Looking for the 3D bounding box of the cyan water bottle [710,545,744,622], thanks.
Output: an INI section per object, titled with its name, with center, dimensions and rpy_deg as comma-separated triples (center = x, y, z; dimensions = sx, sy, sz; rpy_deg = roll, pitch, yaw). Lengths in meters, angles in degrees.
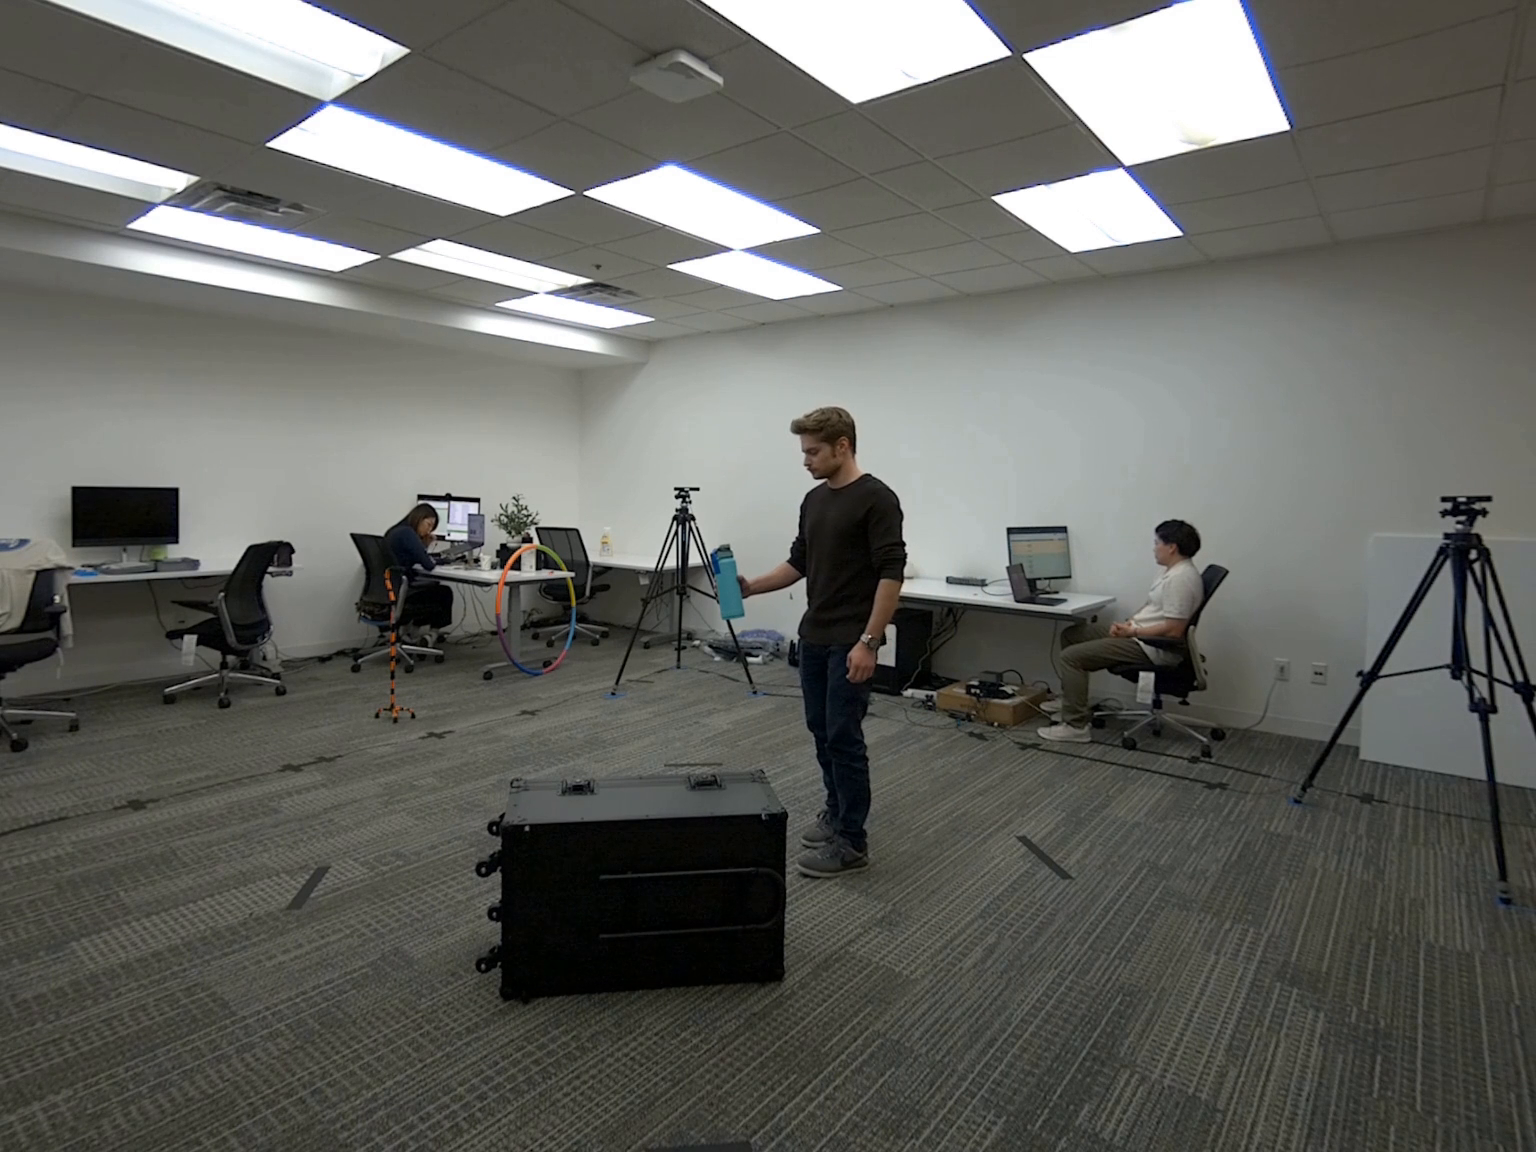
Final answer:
[cyan water bottle]
center = -0.160, 0.019, 3.239
dimensions = 0.092, 0.283, 0.092
rpy_deg = -12, 1, -1
